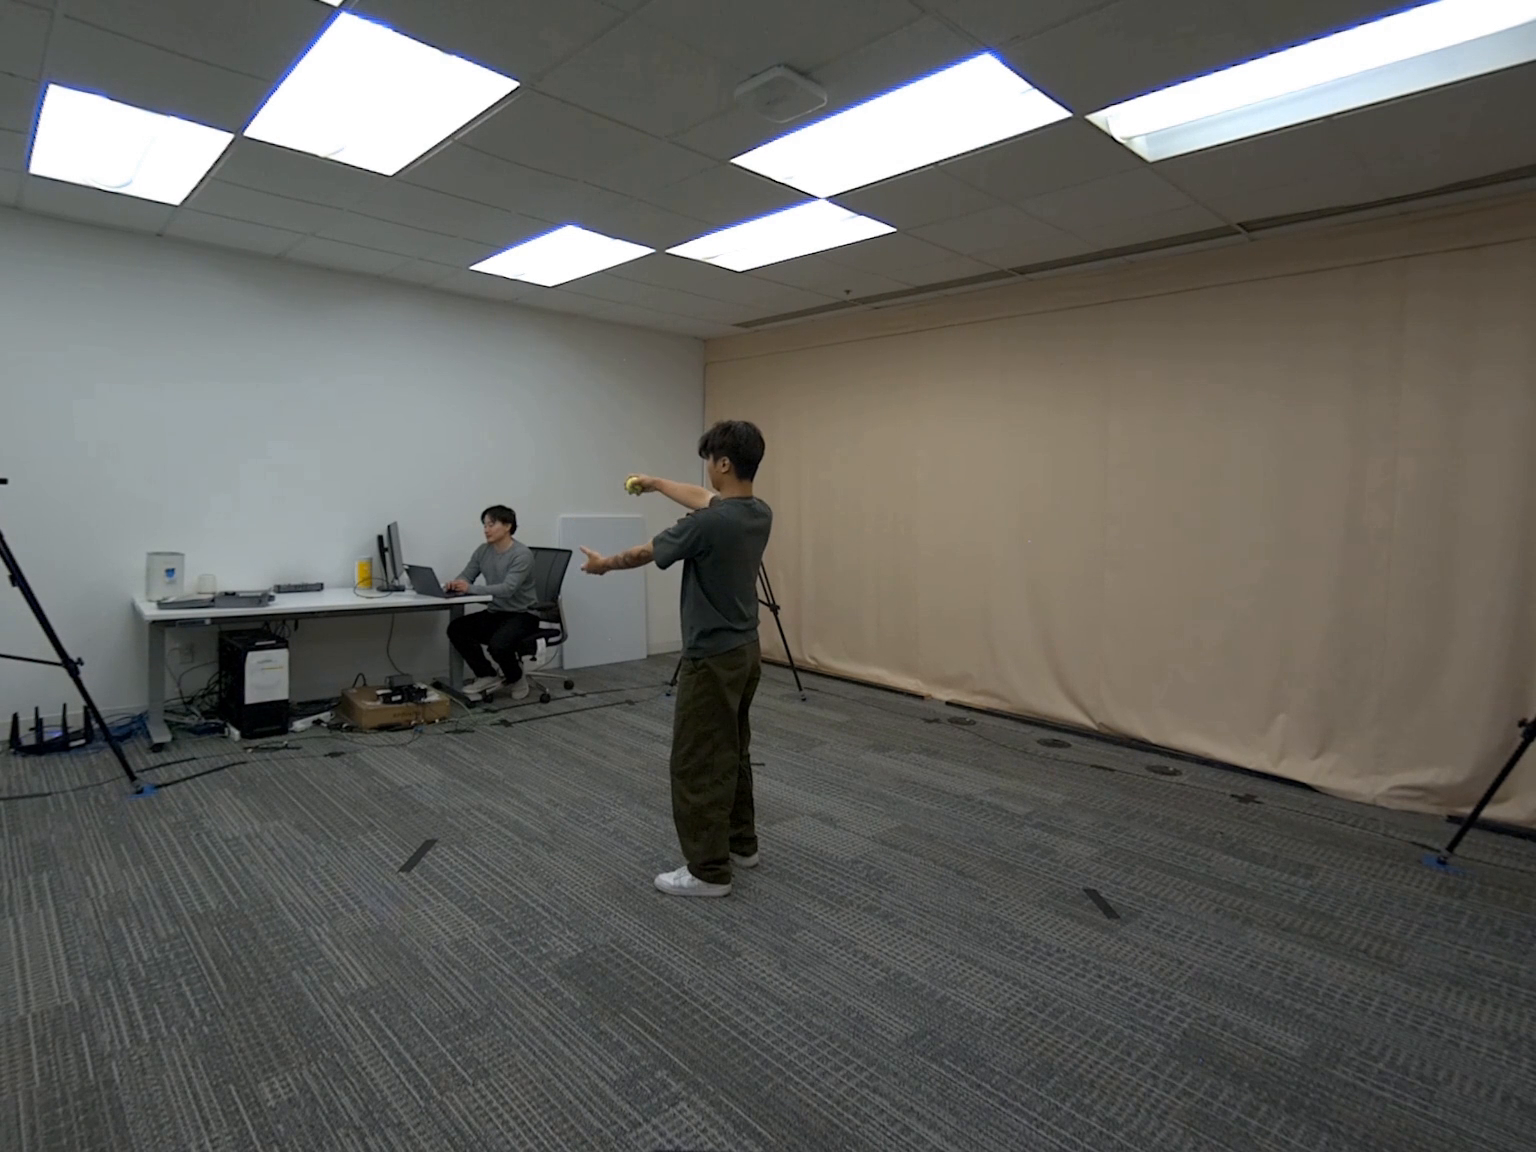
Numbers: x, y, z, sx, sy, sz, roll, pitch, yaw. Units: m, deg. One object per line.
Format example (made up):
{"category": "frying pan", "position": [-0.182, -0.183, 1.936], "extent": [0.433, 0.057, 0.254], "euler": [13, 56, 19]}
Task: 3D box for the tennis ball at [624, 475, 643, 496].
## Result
{"category": "tennis ball", "position": [-0.534, -0.355, 3.454], "extent": [0.066, 0.066, 0.067], "euler": [1, 4, -1]}
